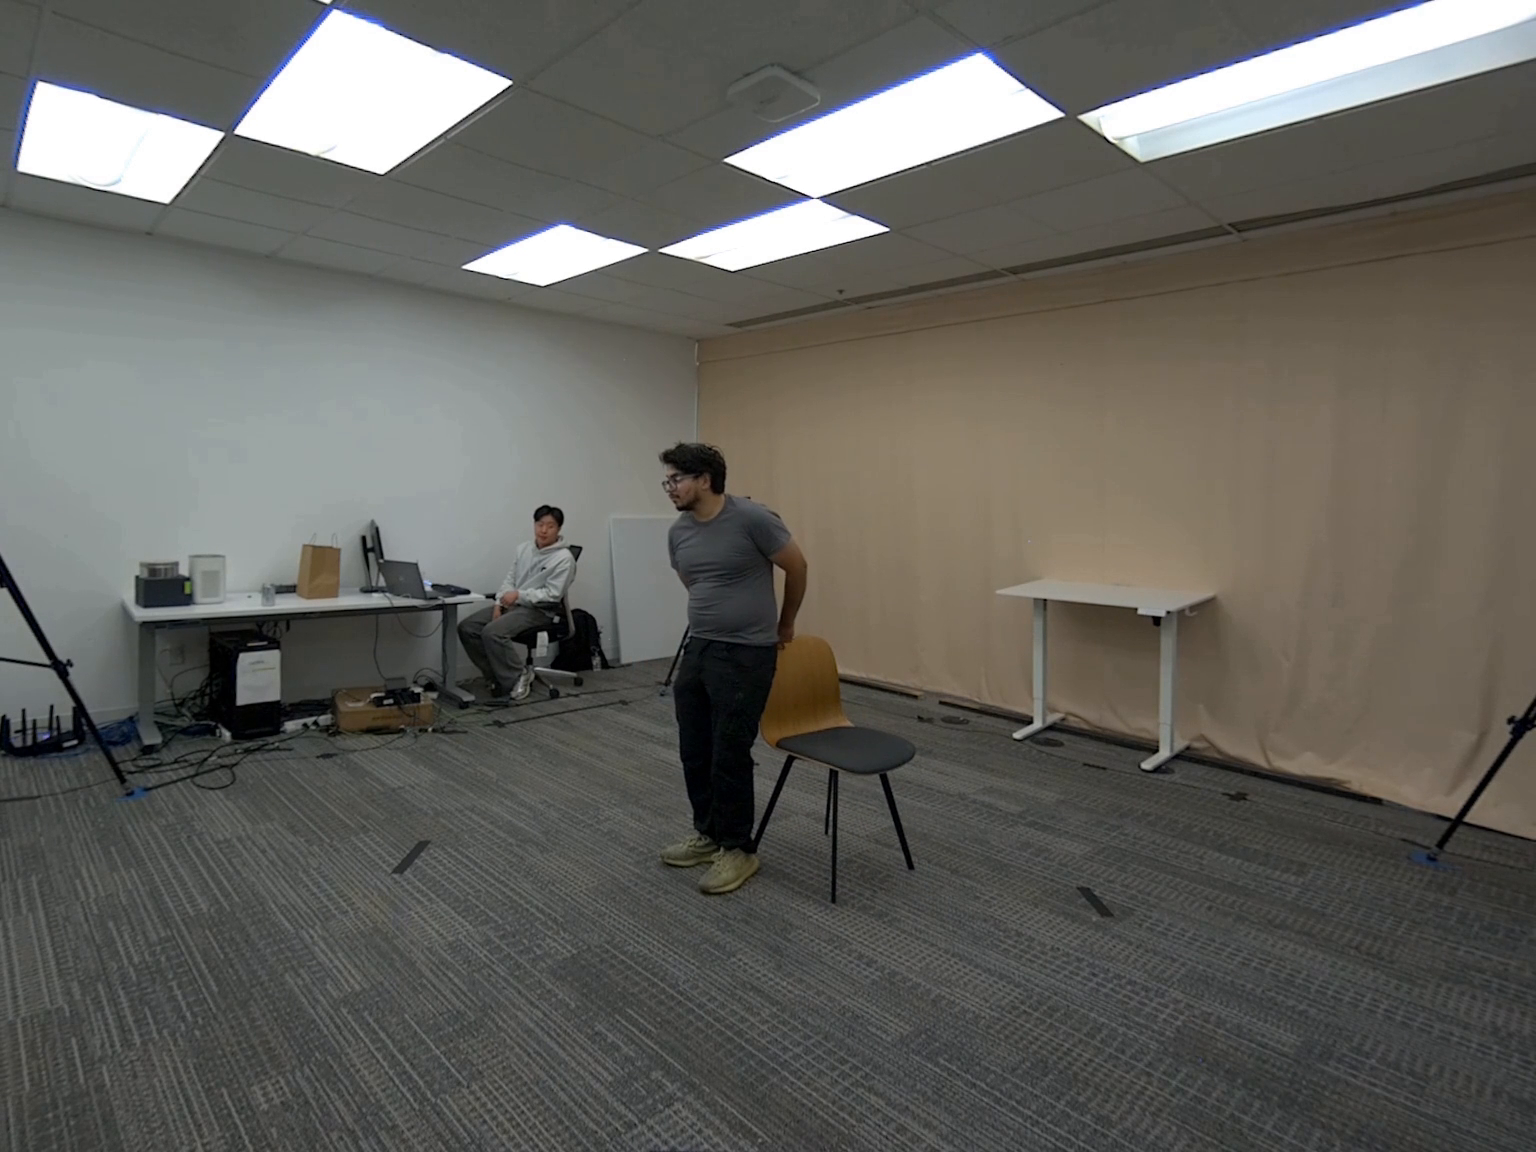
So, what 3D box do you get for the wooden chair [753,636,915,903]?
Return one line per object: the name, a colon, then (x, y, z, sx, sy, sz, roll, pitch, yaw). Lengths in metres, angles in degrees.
wooden chair: (0.253, 0.683, 3.185, 0.467, 0.878, 0.535, 0, 0, -41)
